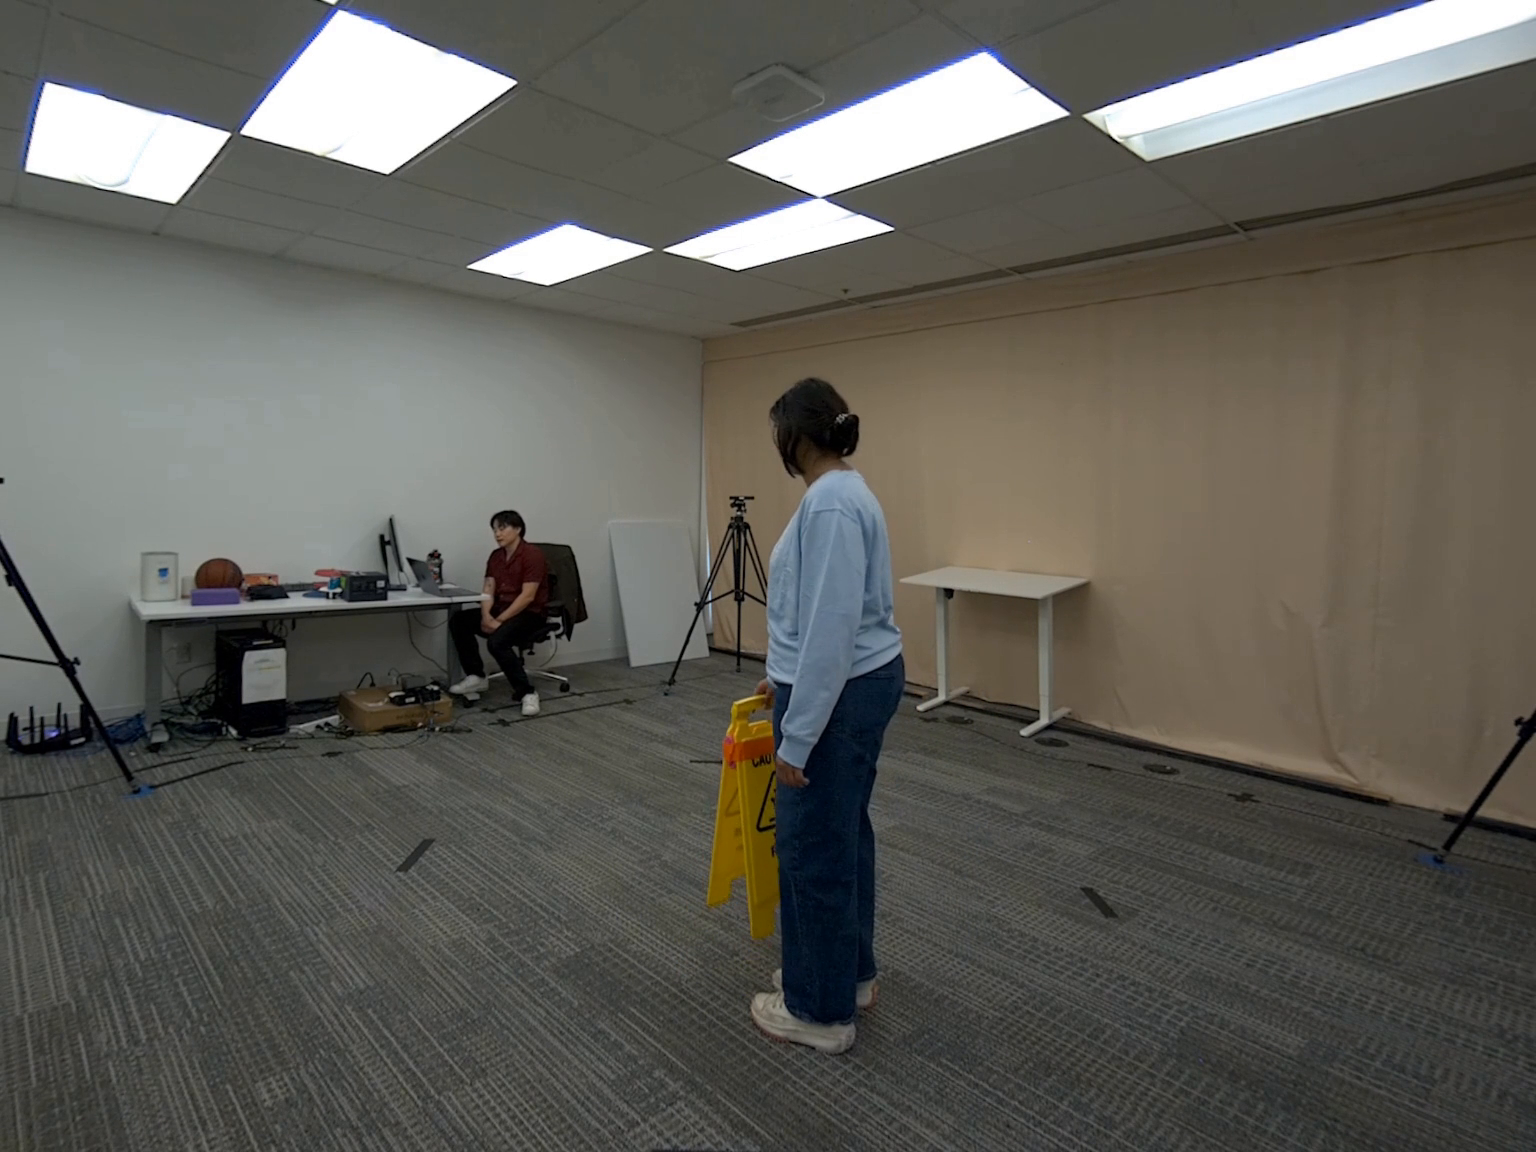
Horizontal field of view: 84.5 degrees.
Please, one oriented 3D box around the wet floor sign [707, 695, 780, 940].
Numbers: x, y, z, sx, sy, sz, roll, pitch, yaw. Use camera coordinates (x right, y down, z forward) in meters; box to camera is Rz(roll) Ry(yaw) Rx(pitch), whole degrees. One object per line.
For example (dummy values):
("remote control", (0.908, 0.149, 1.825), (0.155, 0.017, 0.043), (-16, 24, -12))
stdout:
("wet floor sign", (-0.015, 0.687, 2.519), (0.276, 0.644, 0.296), (-4, 4, -35))
